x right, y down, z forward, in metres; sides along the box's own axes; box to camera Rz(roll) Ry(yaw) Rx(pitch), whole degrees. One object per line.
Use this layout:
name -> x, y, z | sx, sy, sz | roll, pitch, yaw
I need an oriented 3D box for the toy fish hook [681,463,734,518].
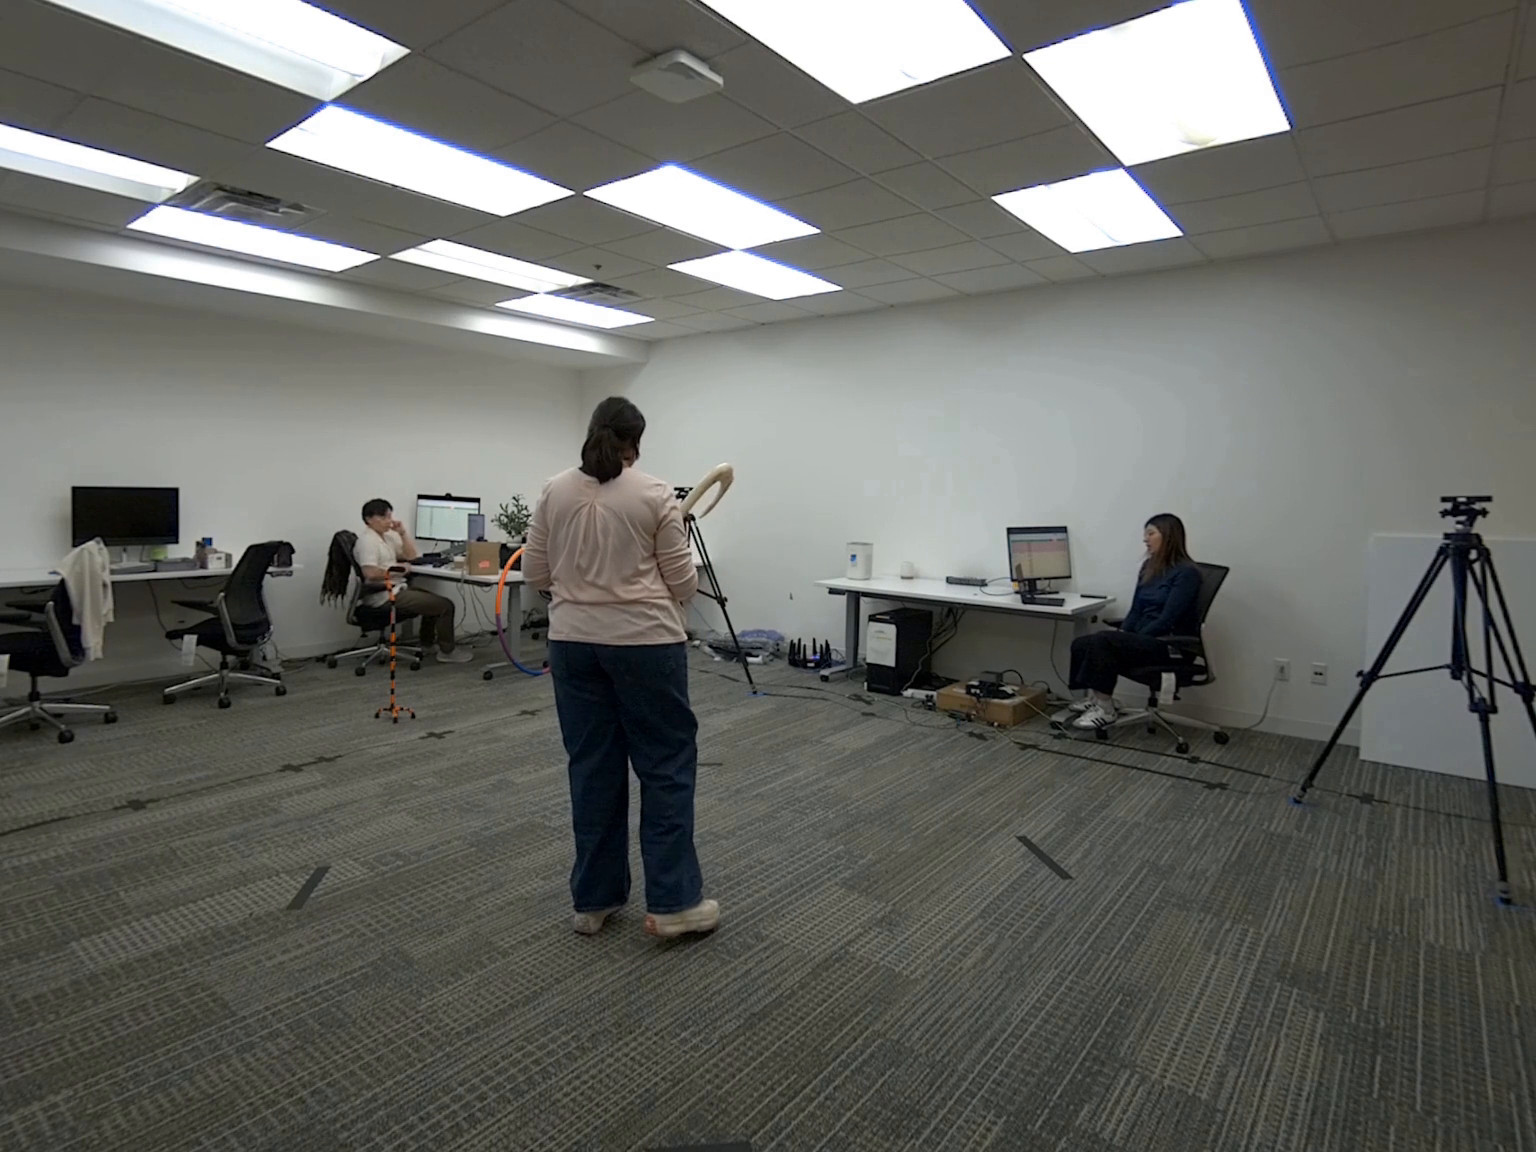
toy fish hook -> -0.293, -0.195, 3.003 | 0.050, 0.506, 0.218 | 37, -15, 22
